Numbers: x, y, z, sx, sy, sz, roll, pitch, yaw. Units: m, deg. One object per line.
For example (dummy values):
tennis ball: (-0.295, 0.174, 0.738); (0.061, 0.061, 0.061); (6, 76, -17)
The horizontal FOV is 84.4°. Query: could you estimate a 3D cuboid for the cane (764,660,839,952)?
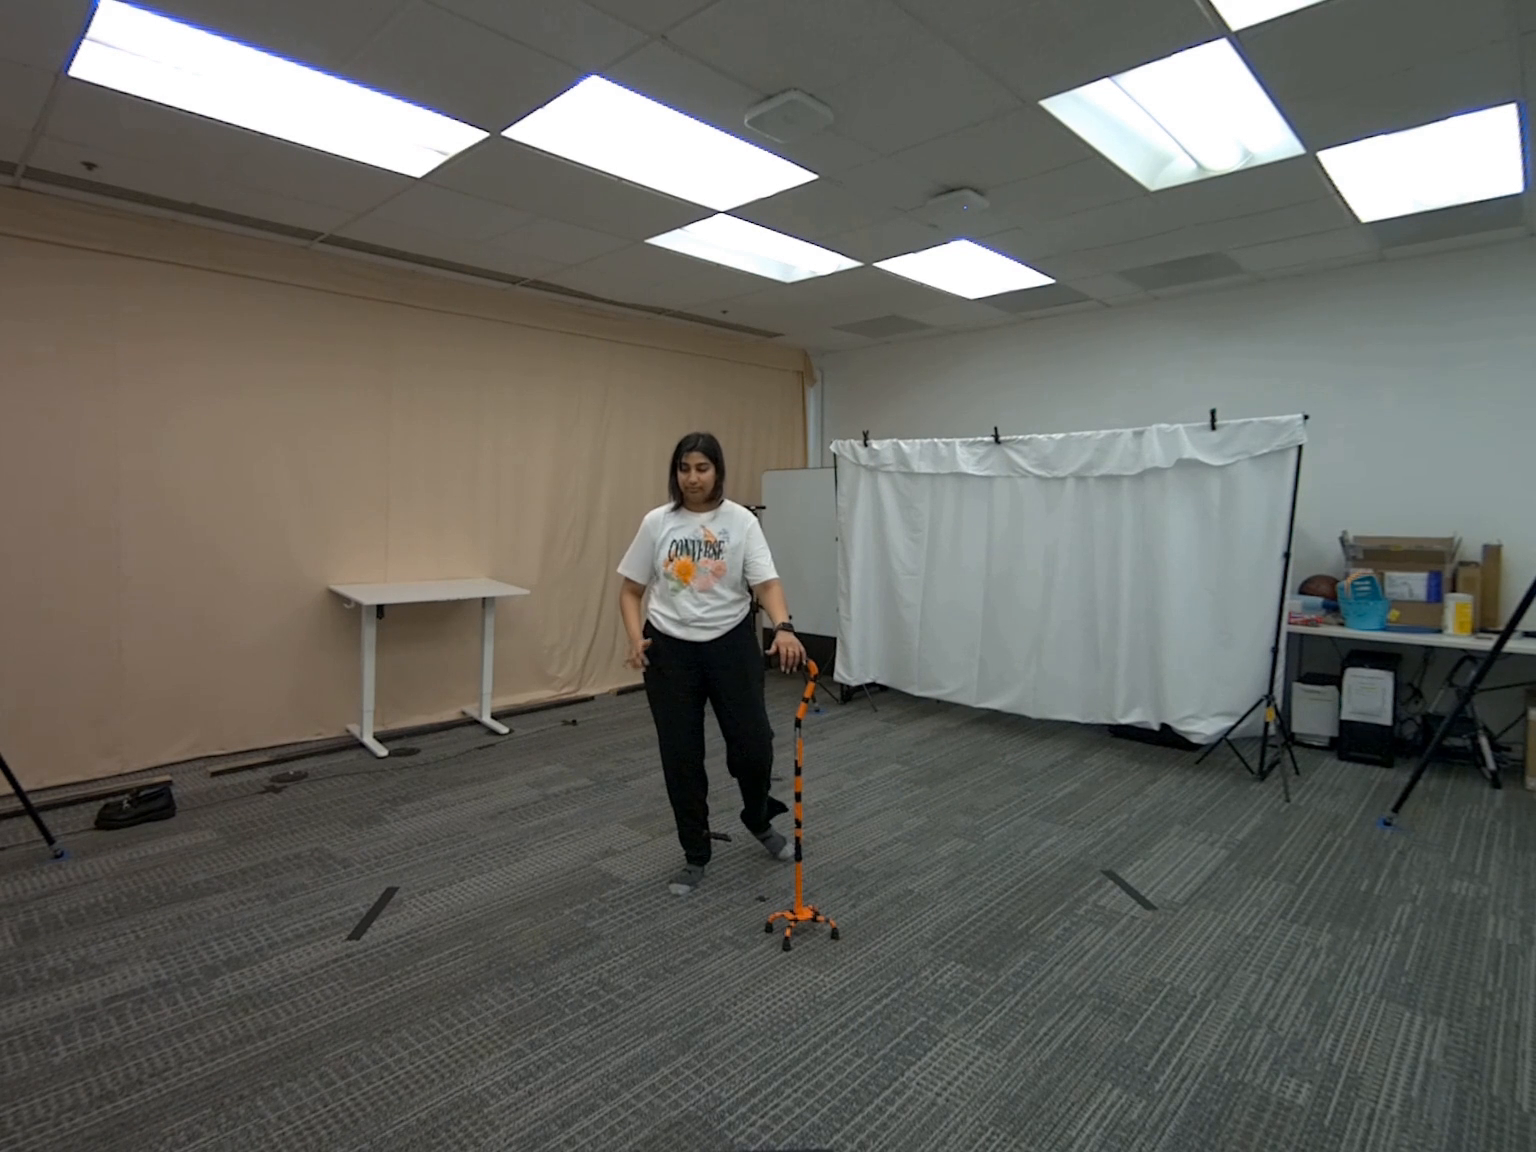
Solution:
cane: (0.111, 0.709, 2.714); (0.201, 0.906, 0.155); (-1, 3, -25)
